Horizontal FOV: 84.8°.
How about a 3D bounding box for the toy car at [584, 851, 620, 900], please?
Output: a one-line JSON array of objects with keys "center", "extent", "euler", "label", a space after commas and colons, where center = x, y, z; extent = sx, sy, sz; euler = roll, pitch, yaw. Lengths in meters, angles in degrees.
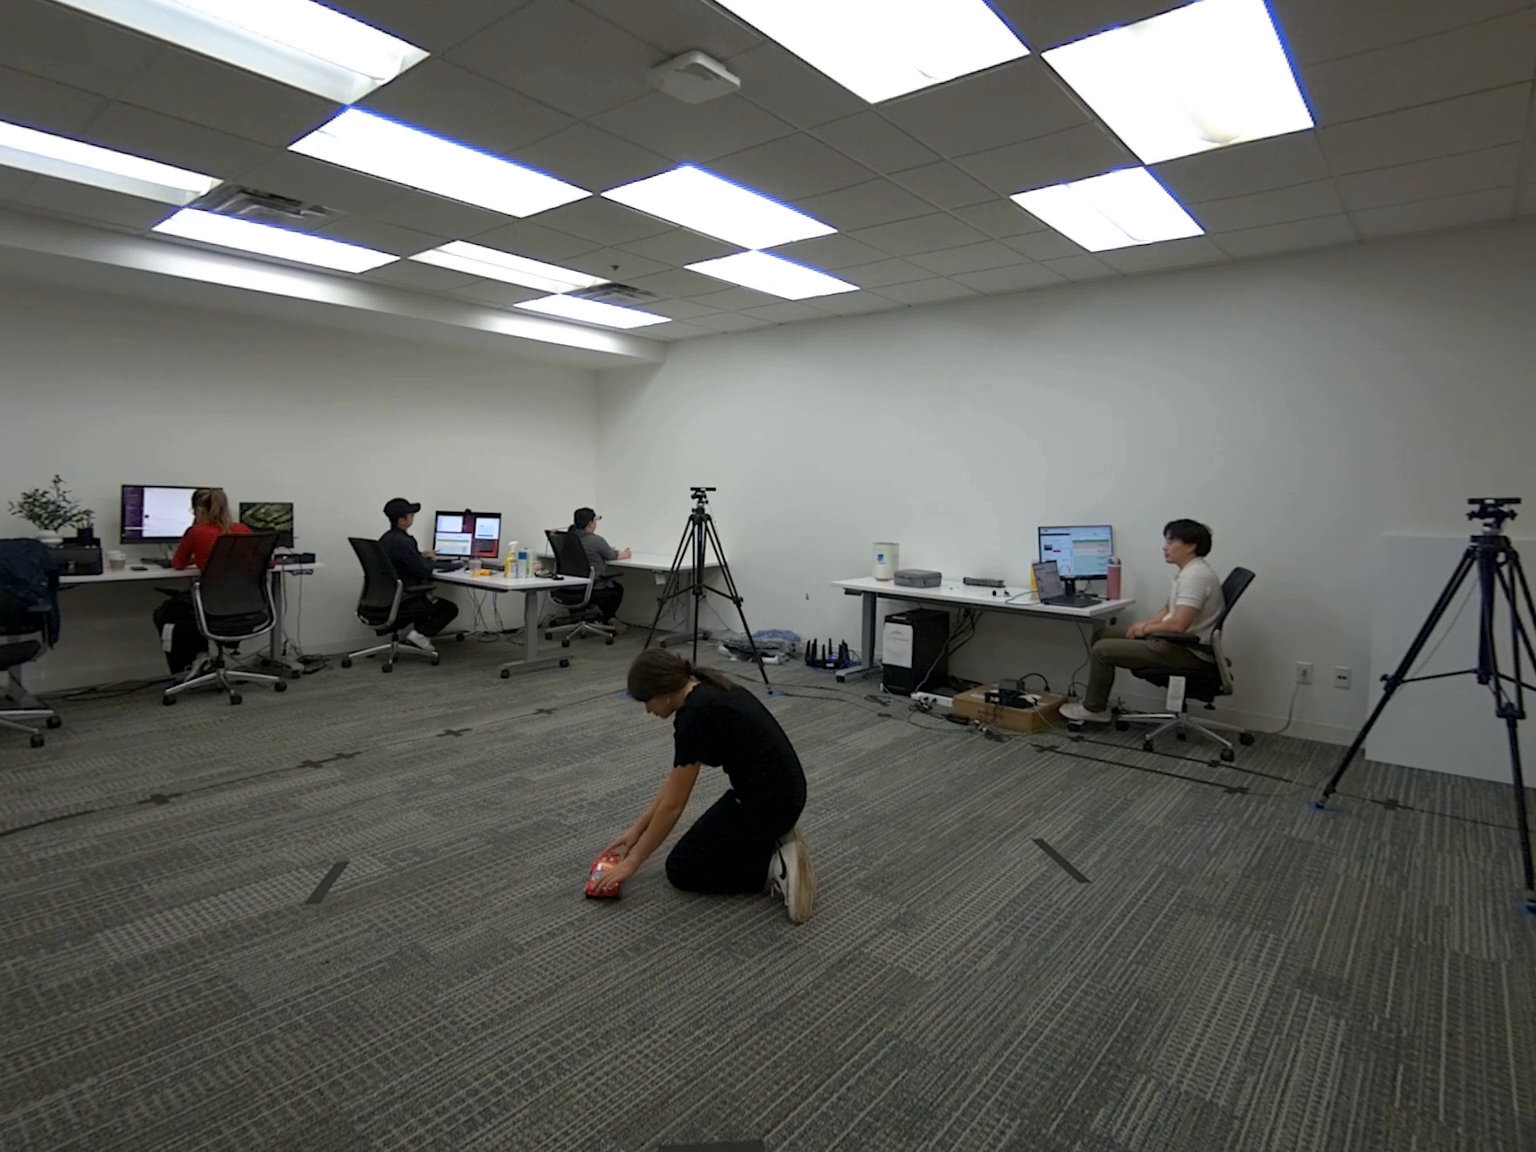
[{"center": [-0.574, 1.051, 2.969], "extent": [0.130, 0.082, 0.259], "euler": [-1, 15, -5], "label": "toy car"}]
